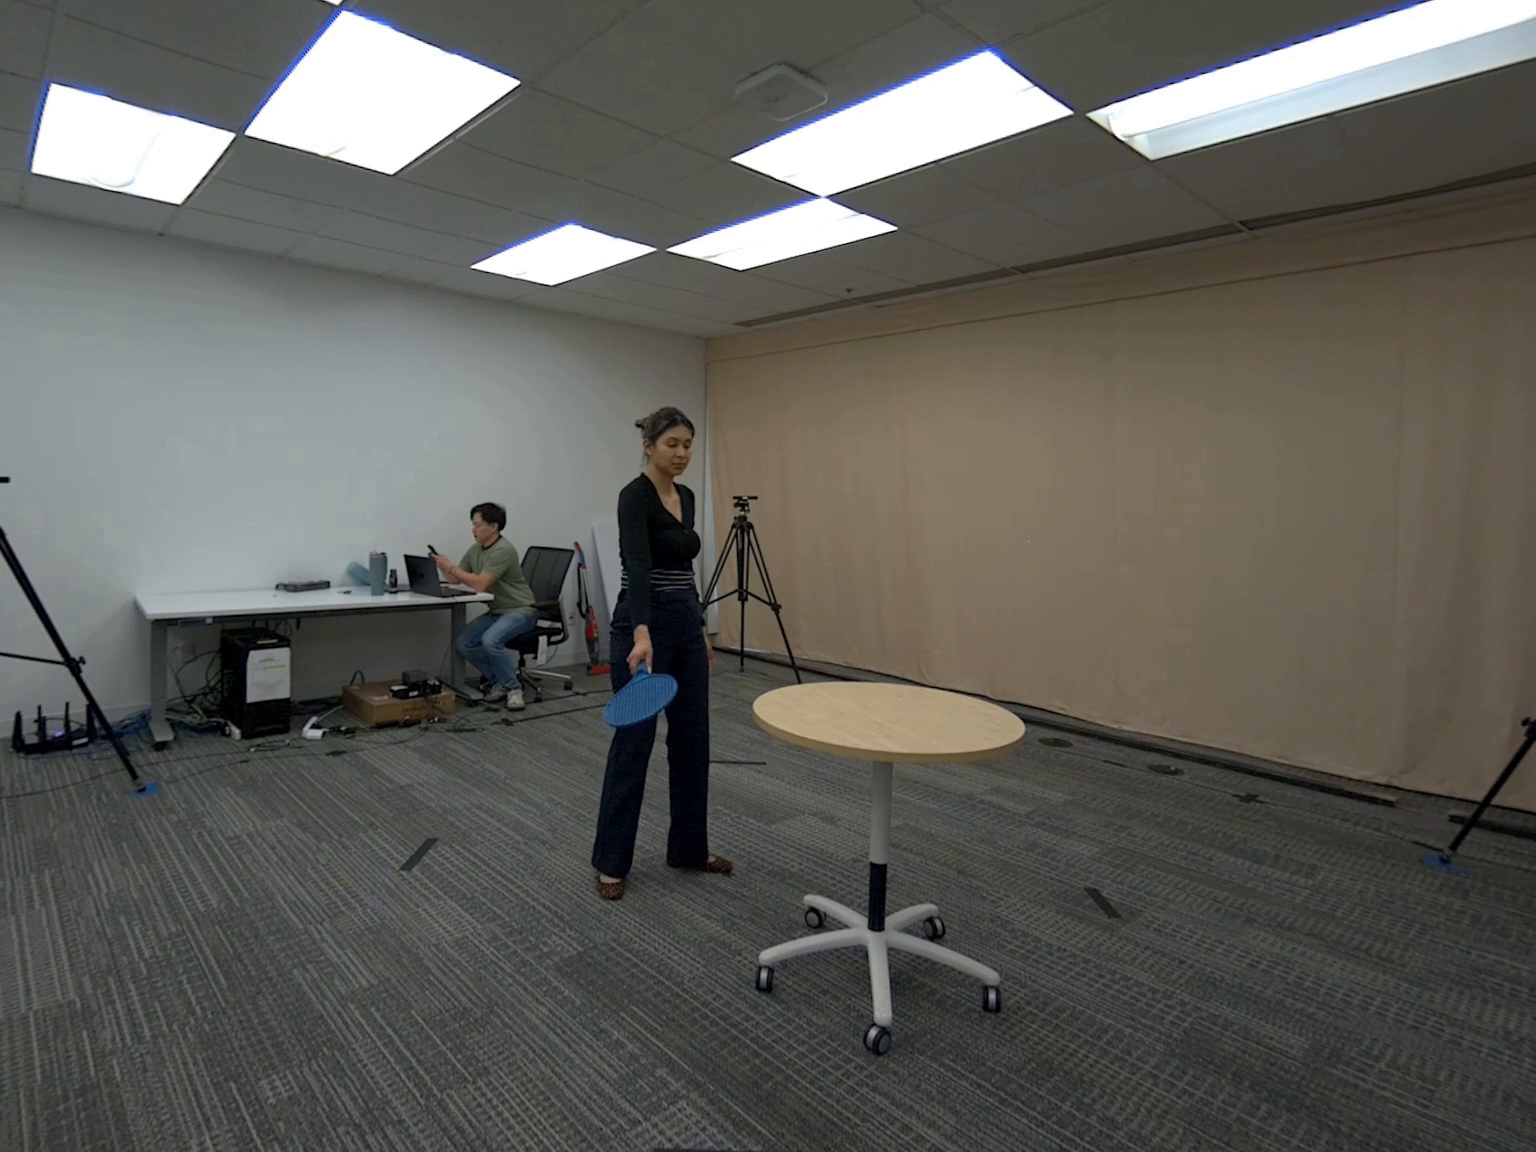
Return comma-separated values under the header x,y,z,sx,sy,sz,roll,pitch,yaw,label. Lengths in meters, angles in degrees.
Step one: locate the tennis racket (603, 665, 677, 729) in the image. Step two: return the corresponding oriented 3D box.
x,y,z,sx,sy,sz,roll,pitch,yaw,label
-0.383,0.326,2.348,0.213,0.031,0.442,-25,19,-8,tennis racket
